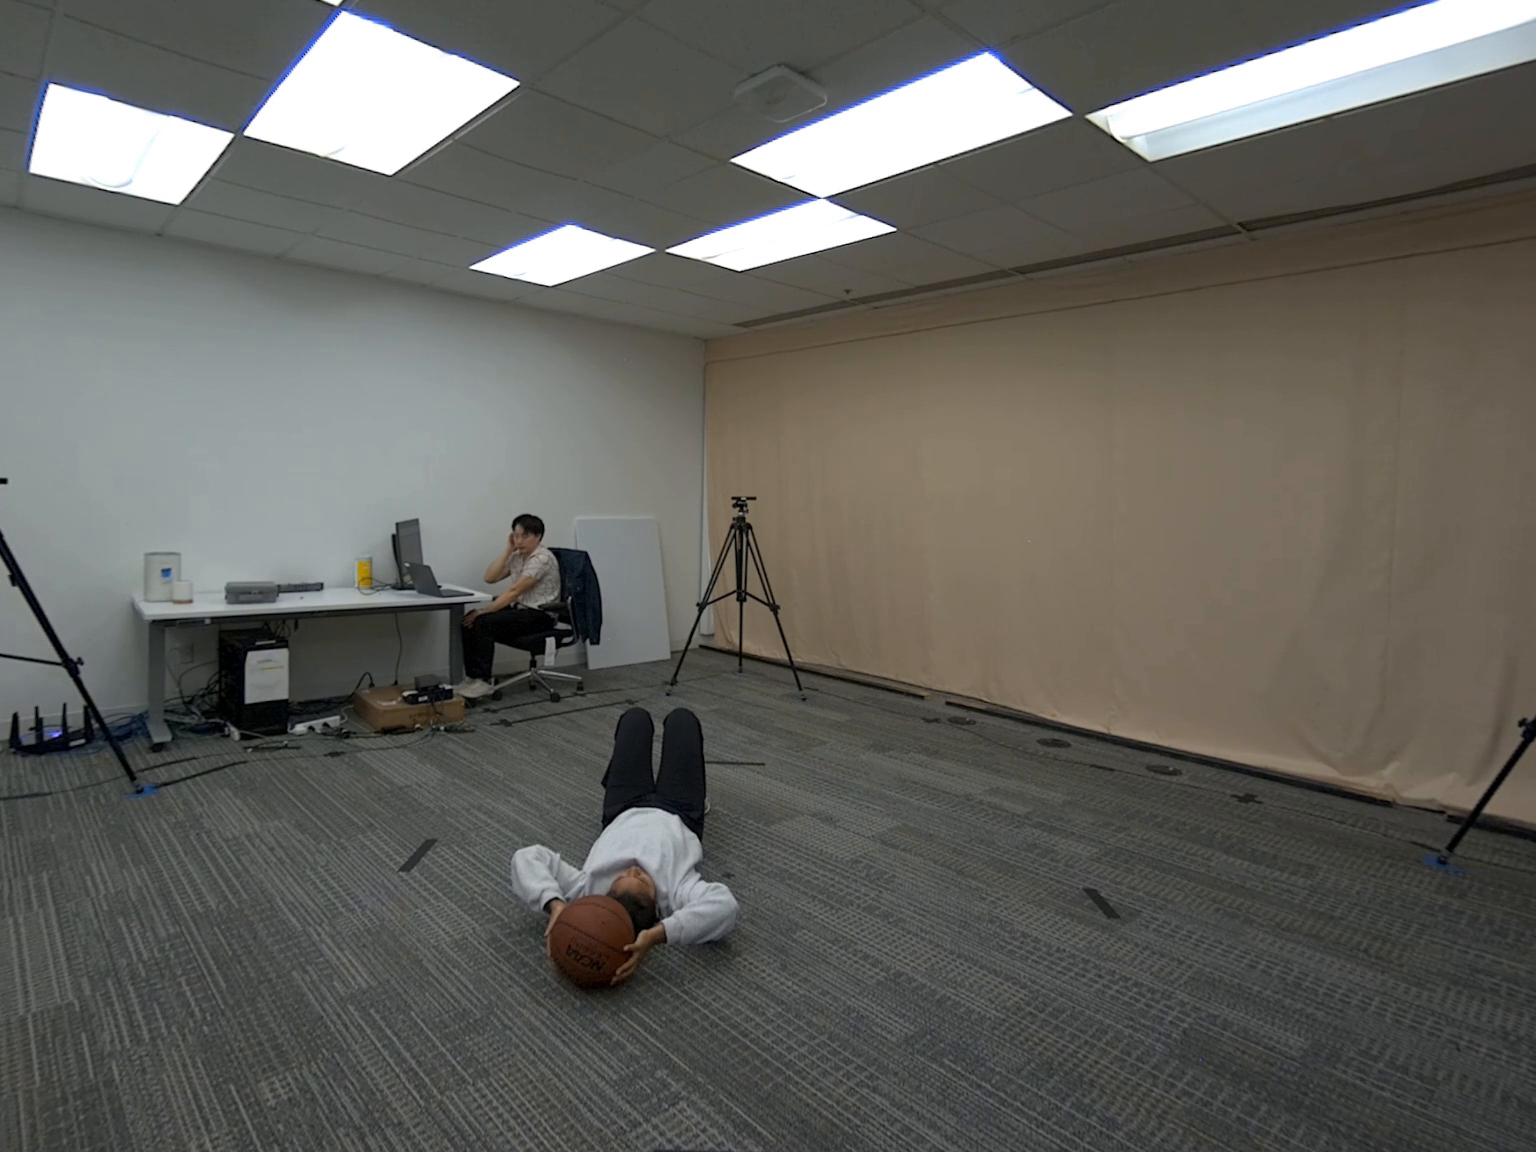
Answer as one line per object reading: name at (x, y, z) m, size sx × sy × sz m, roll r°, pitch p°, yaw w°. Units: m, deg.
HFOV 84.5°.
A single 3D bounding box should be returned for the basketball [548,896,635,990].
basketball at (-0.511, 1.046, 2.399) m, size 0.236 × 0.235 × 0.237 m, roll 1°, pitch 4°, yaw -1°
